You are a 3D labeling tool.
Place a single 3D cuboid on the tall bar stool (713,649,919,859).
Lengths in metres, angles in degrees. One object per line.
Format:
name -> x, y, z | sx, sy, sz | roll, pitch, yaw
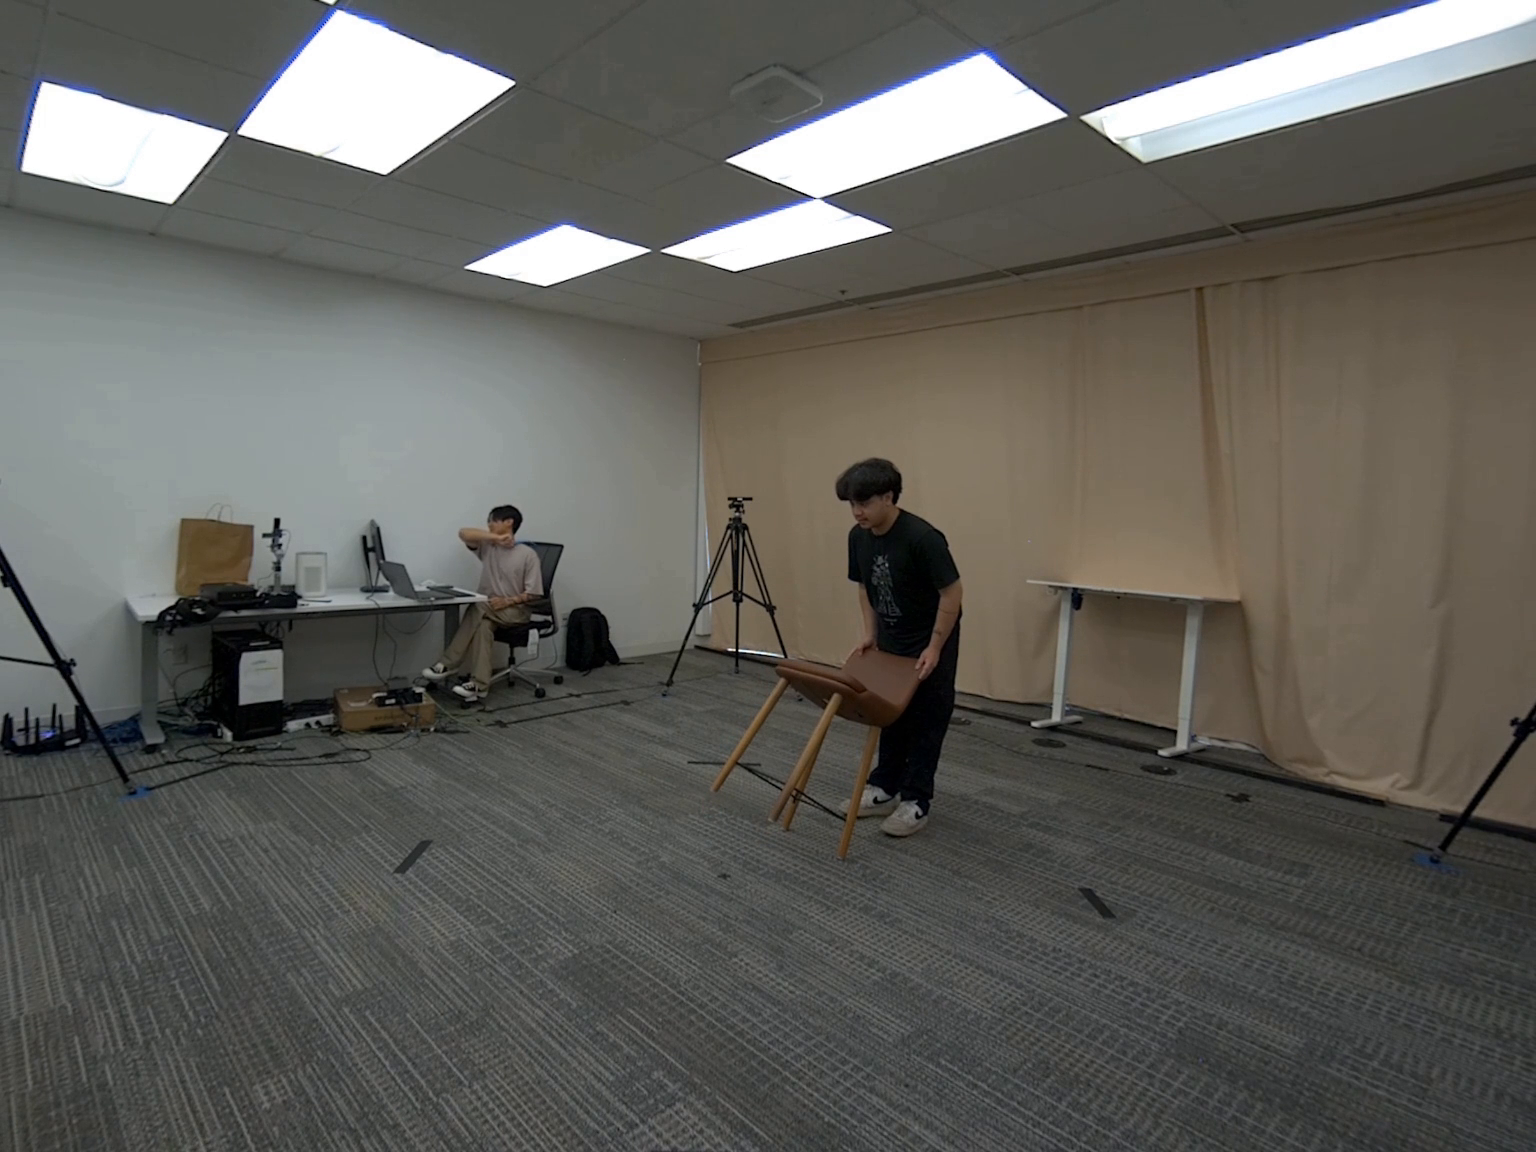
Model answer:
tall bar stool -> 0.225, 0.605, 3.424 | 0.454, 0.893, 0.468 | 39, -19, -32
